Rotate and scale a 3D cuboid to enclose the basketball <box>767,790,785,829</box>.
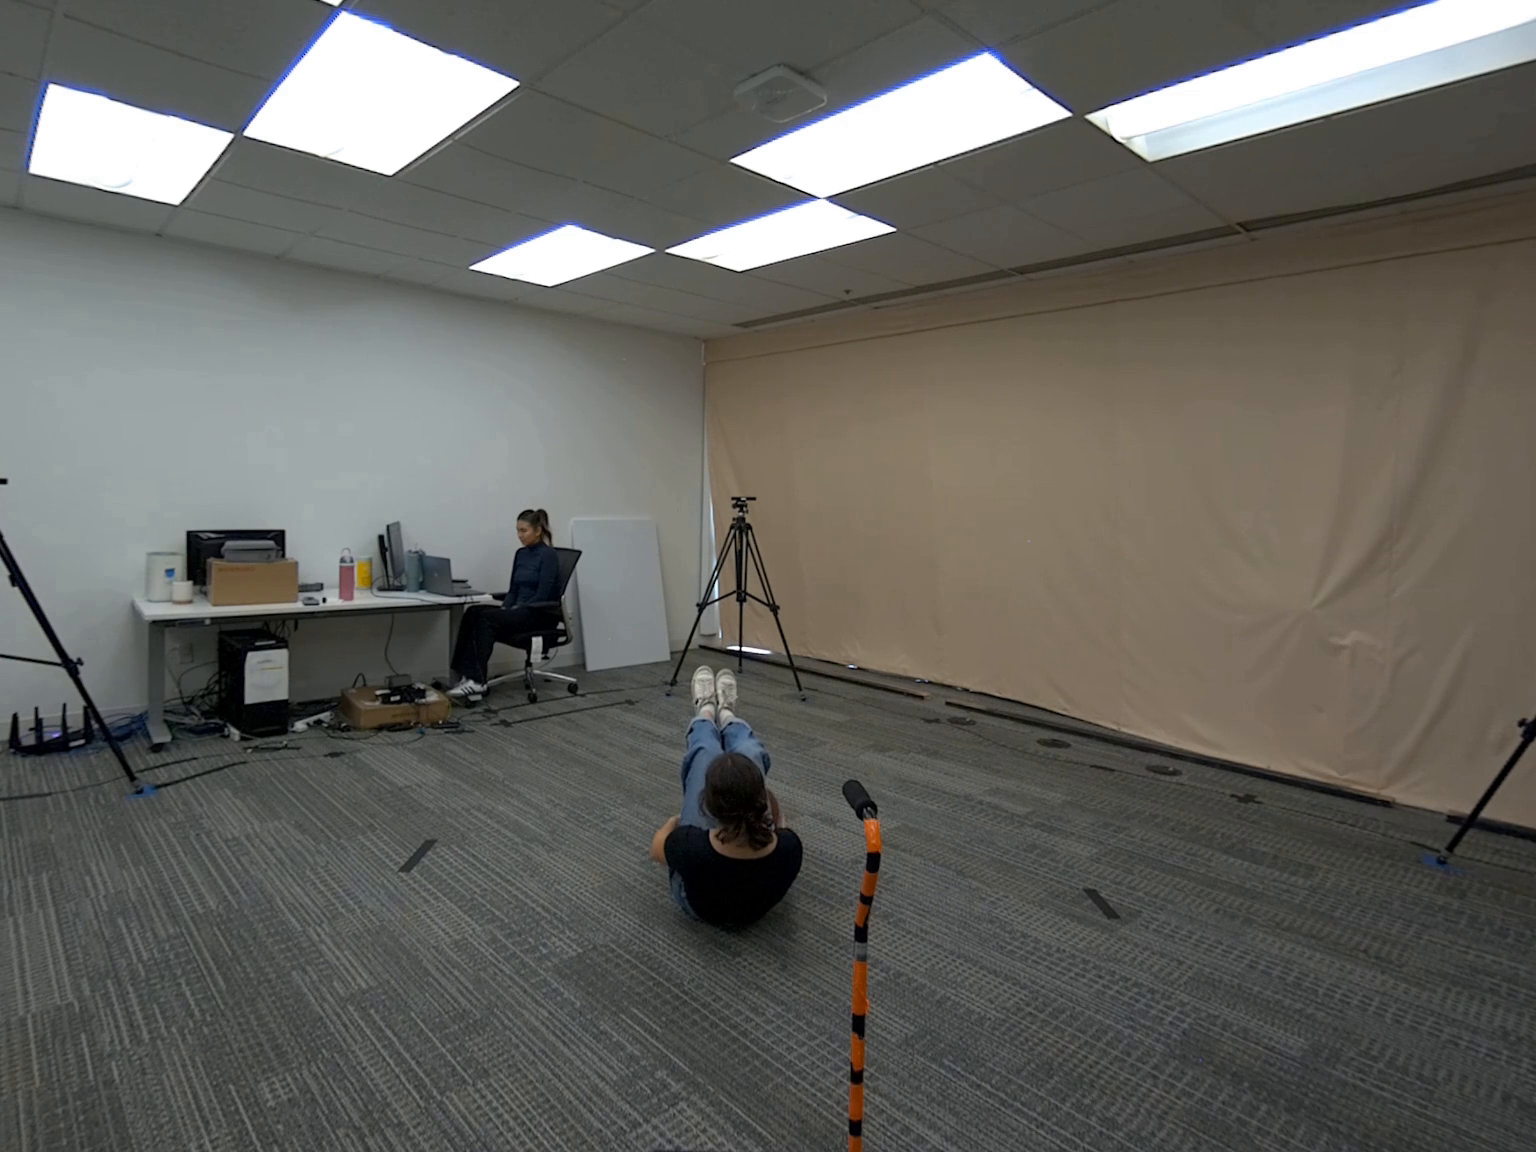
[{"bbox_3d":[-0.084,0.889,3.121,0.236,0.235,0.237,1,4,-1],"label":"basketball"}]
